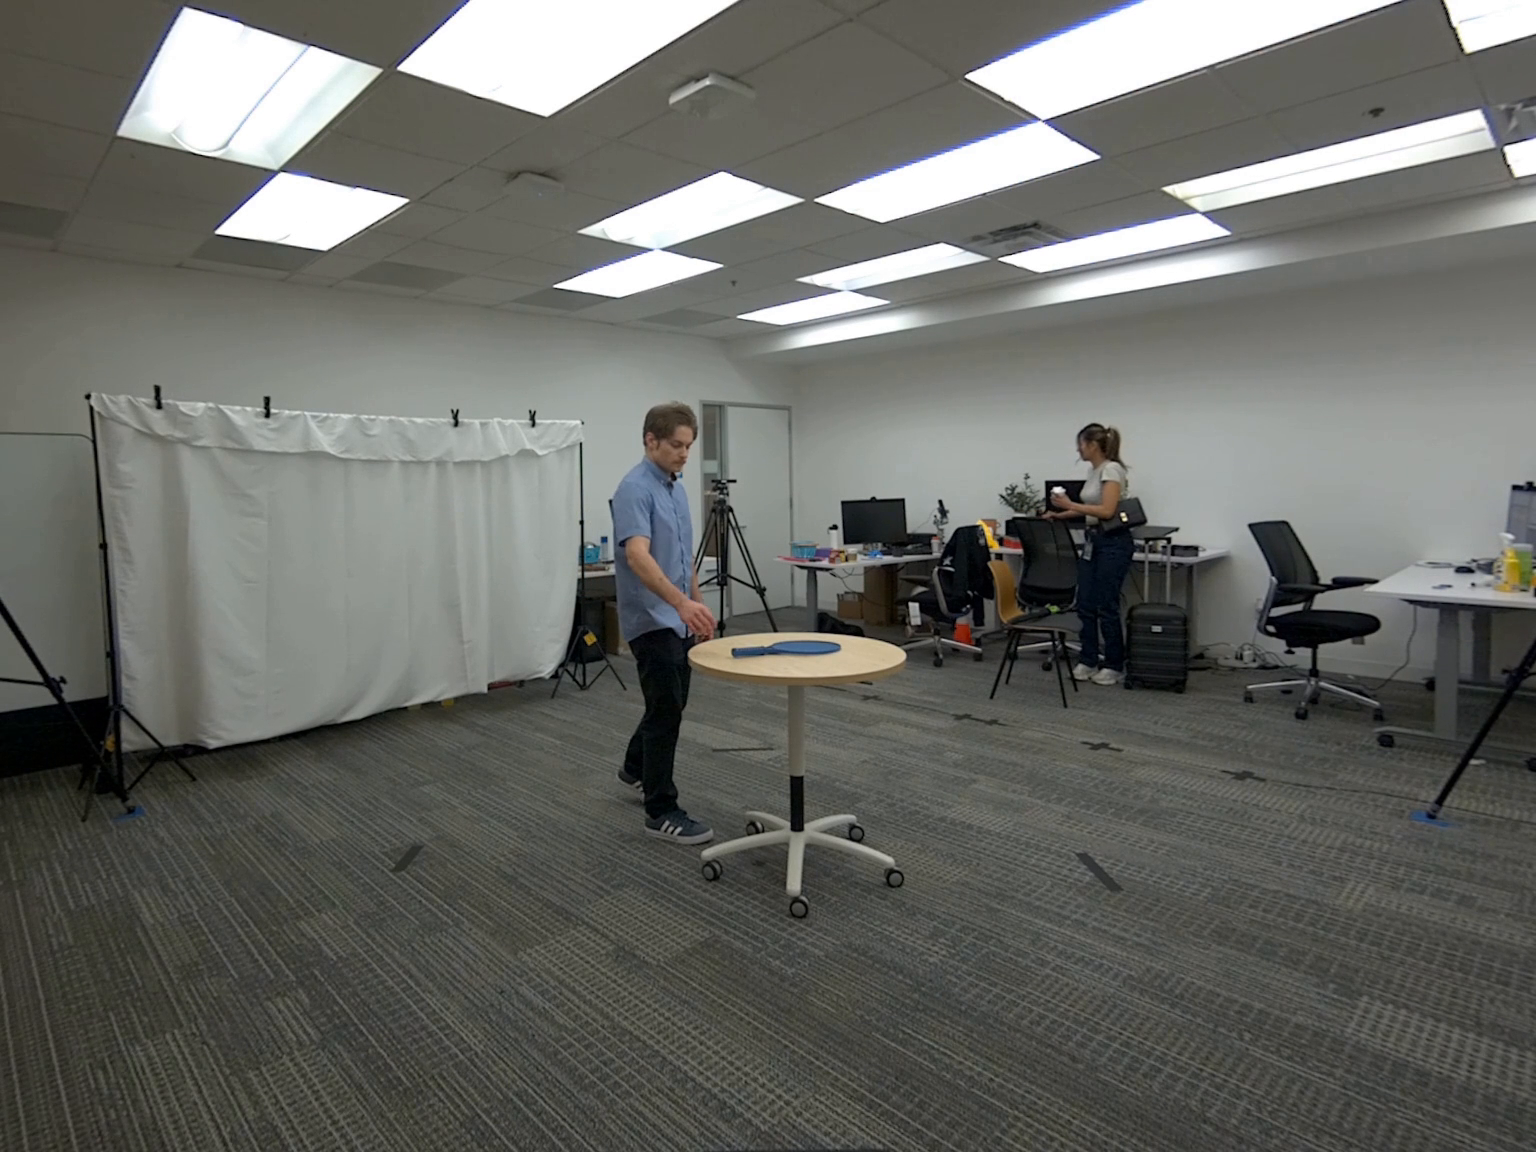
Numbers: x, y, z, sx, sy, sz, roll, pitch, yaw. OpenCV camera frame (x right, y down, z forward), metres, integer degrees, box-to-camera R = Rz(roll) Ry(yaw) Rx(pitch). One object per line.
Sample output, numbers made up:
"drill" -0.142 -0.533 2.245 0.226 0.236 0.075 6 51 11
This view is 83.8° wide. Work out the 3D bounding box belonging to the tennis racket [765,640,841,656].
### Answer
"tennis racket" 0.073 0.259 3.037 0.422 0.031 0.220 -3 8 -30
